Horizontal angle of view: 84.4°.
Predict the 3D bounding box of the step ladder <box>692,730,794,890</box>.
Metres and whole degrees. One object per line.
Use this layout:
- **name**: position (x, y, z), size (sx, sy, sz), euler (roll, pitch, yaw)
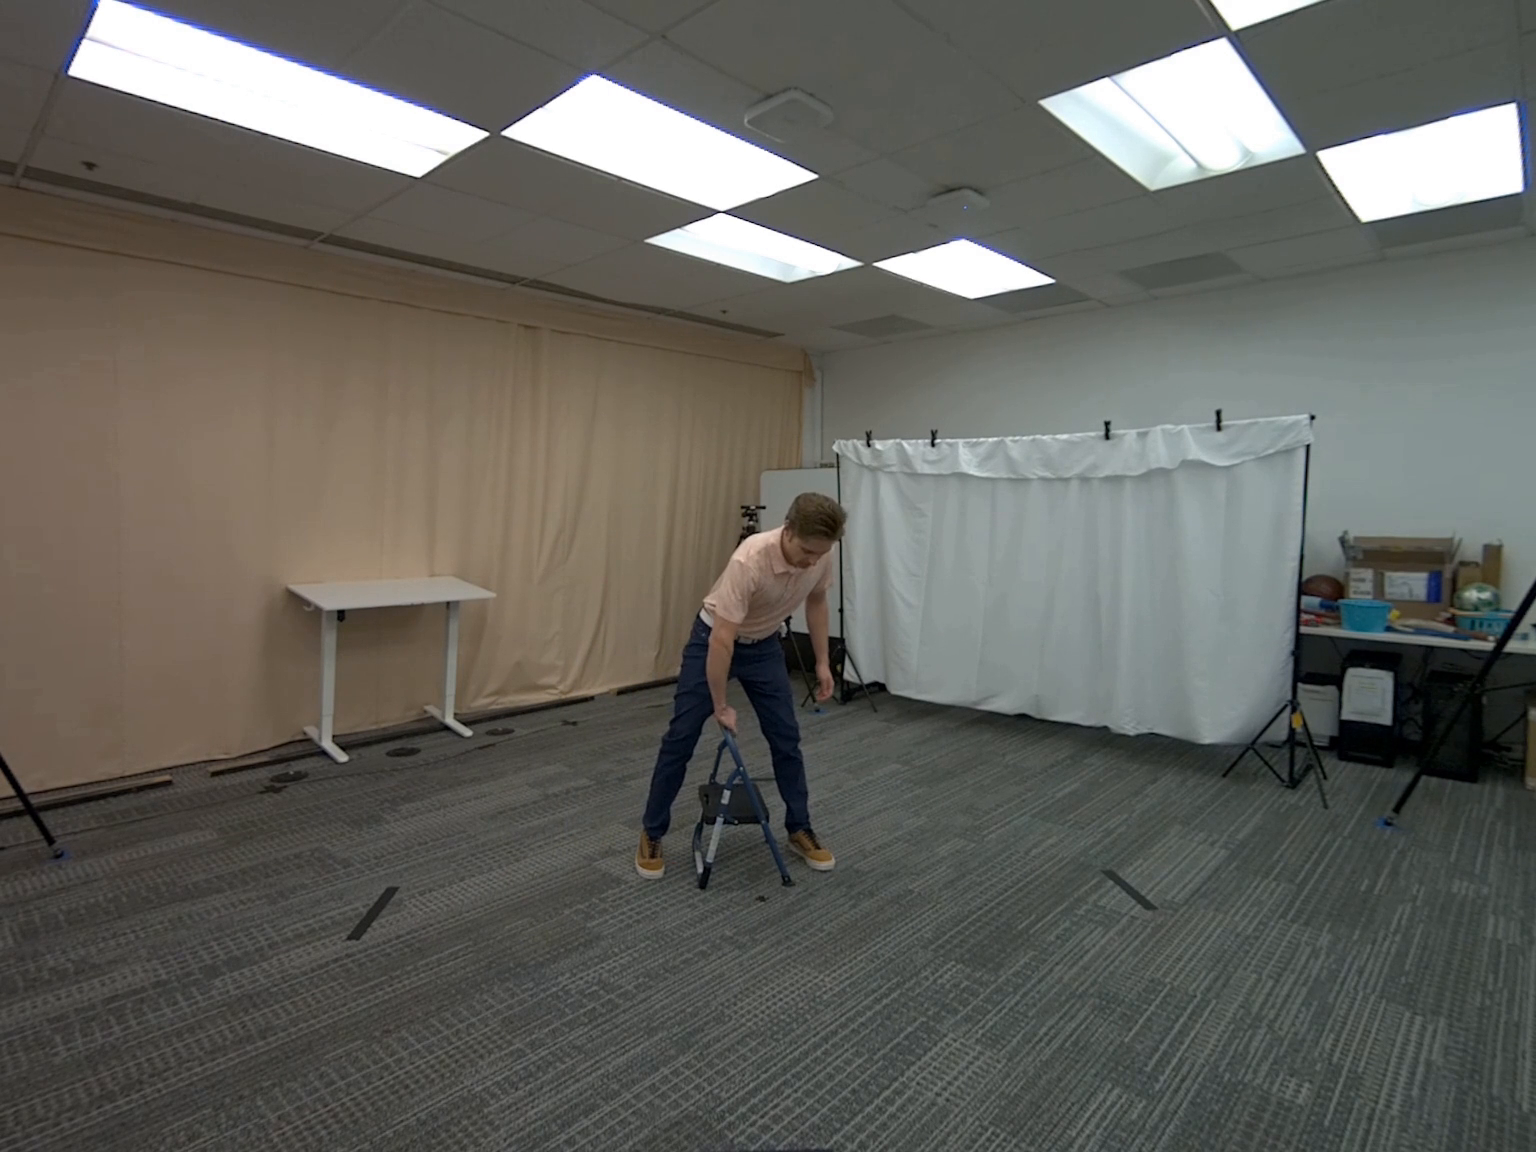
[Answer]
- **step ladder**: position (-0.111, 0.822, 3.258), size (0.346, 0.605, 0.435), euler (0, 2, -9)
